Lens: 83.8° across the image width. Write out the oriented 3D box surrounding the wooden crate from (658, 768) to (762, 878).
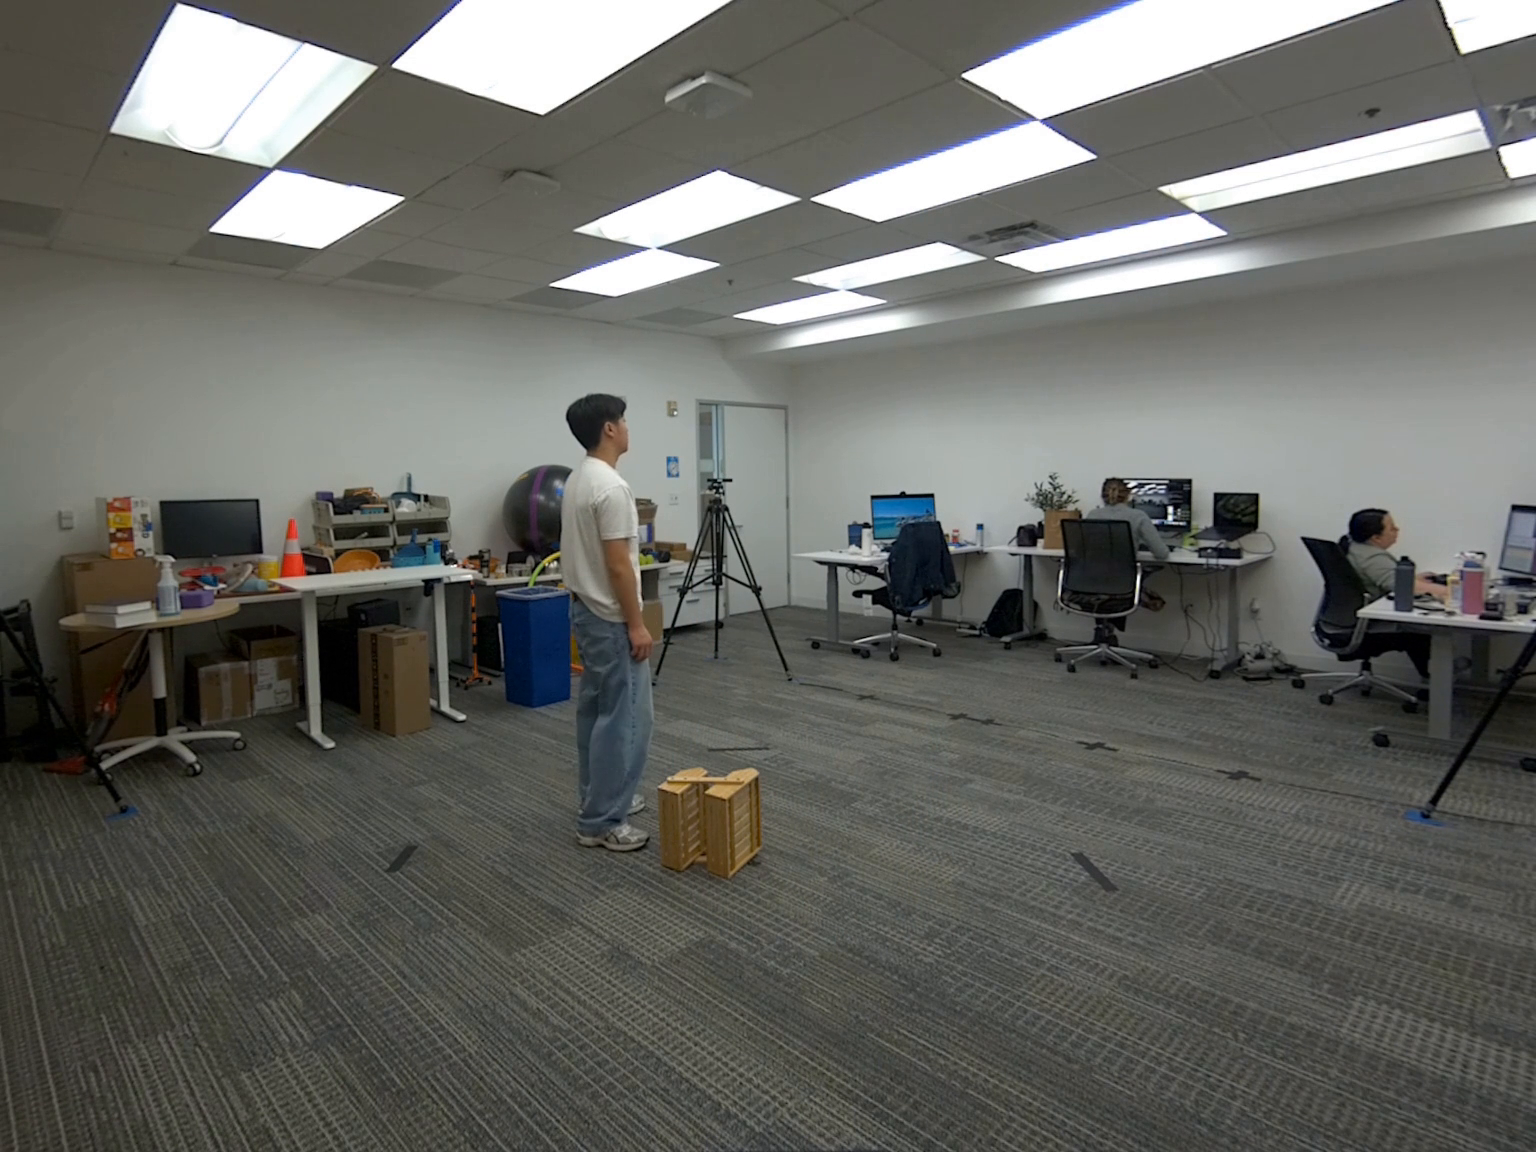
[{"bbox_3d":[-0.203,0.879,3.117,0.281,0.321,0.296,6,13,32],"label":"wooden crate"}]
